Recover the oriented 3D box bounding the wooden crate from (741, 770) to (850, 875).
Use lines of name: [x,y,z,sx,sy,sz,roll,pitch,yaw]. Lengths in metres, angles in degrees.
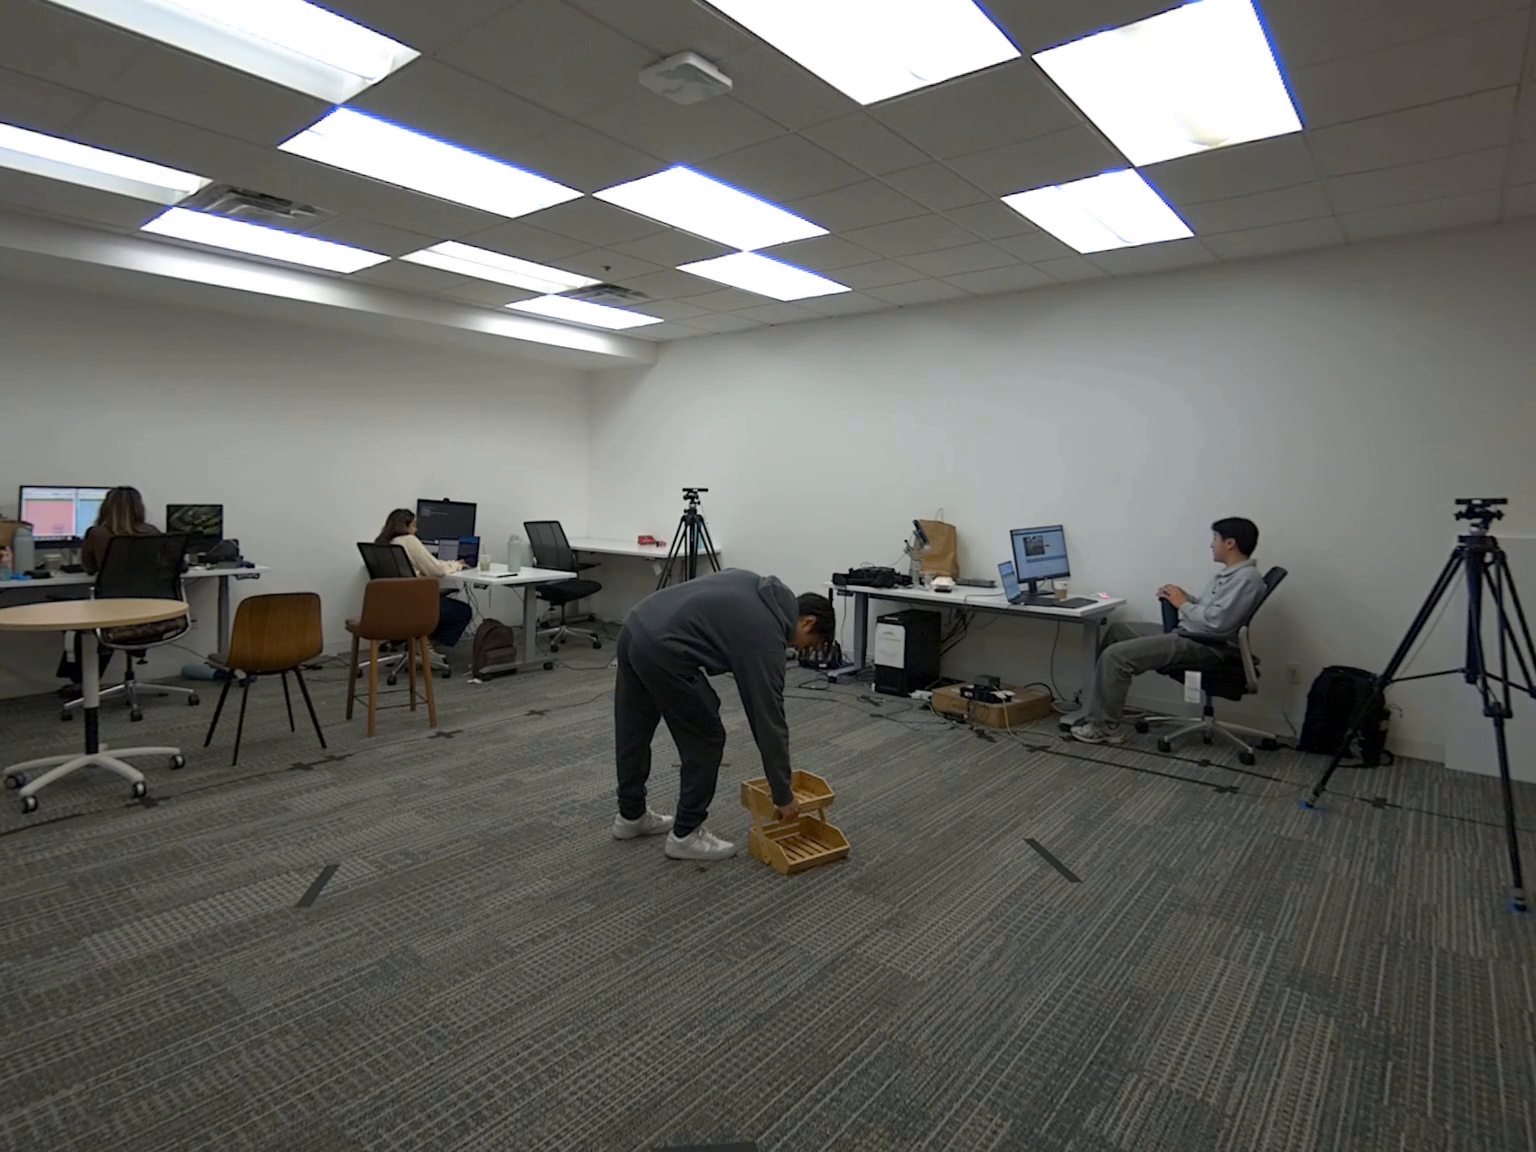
wooden crate: [0.096,0.929,3.256,0.315,0.272,0.312,-2,5,-37]
